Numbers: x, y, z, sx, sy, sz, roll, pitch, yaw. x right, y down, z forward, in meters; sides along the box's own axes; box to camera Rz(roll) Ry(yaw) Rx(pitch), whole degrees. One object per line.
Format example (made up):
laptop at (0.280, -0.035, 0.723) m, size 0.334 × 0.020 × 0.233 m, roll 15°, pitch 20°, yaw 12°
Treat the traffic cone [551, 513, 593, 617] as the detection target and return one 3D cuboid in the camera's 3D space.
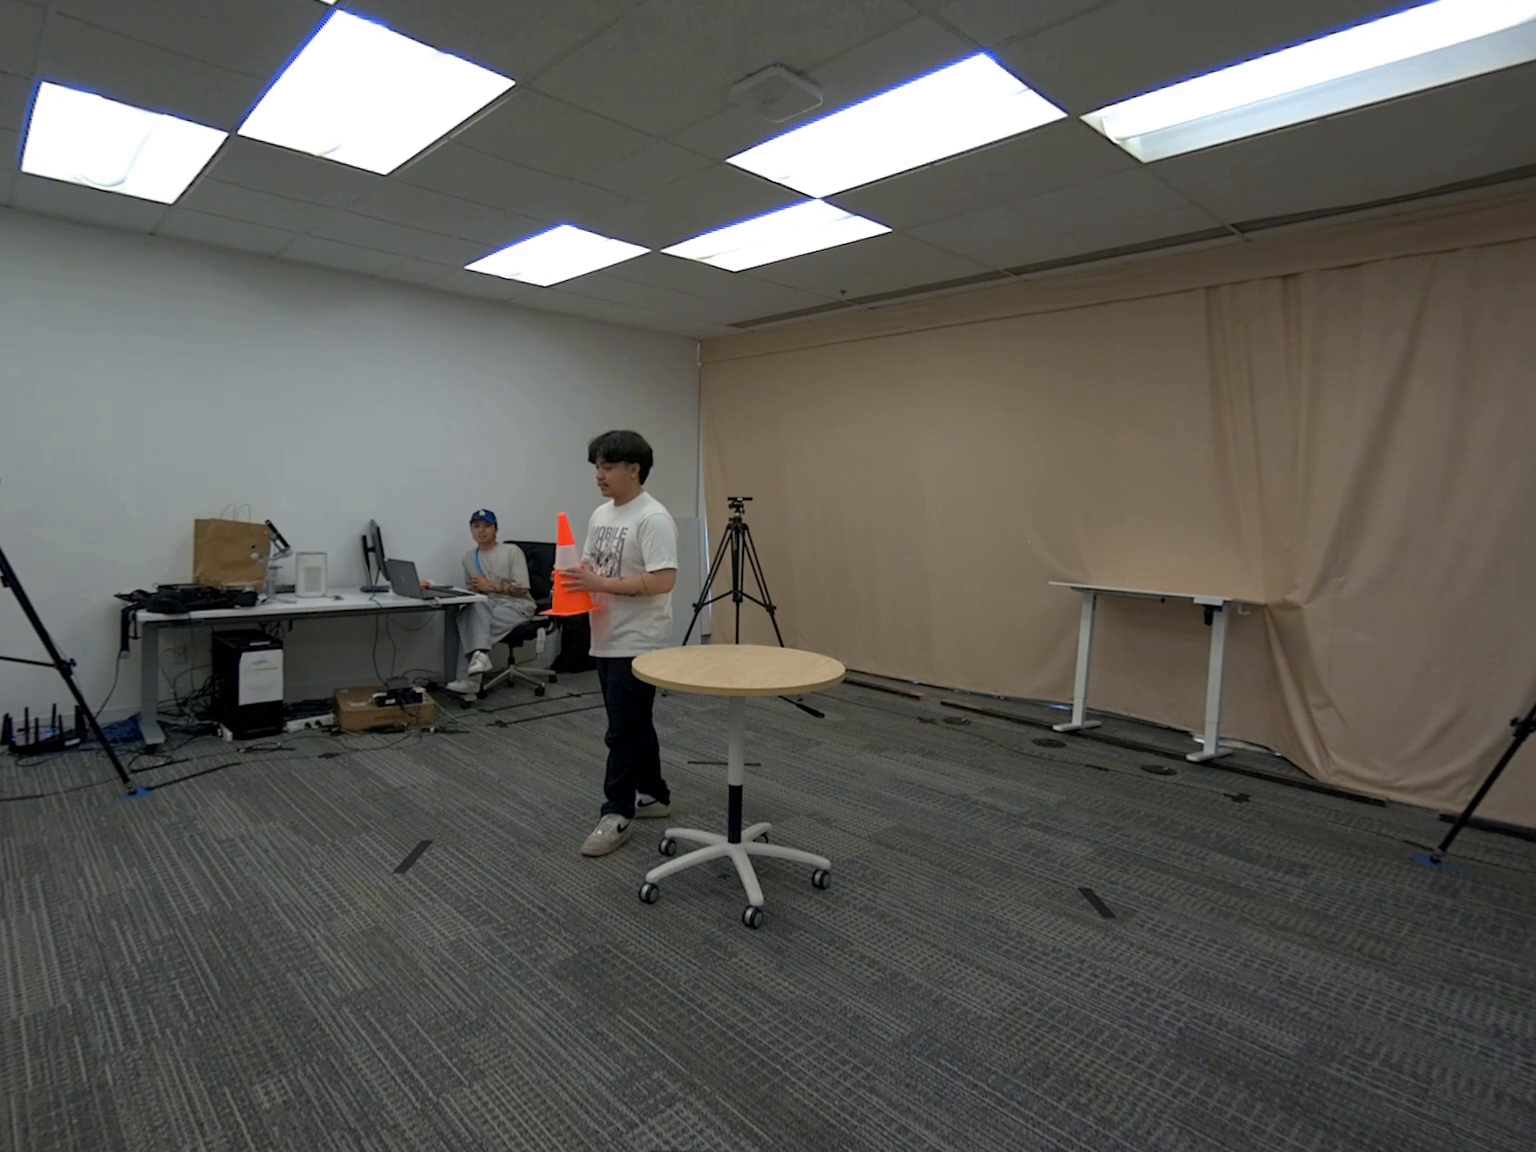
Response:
traffic cone at (-0.796, -0.056, 3.289) m, size 0.210 × 0.380 × 0.200 m, roll 4°, pitch 13°, yaw 33°
